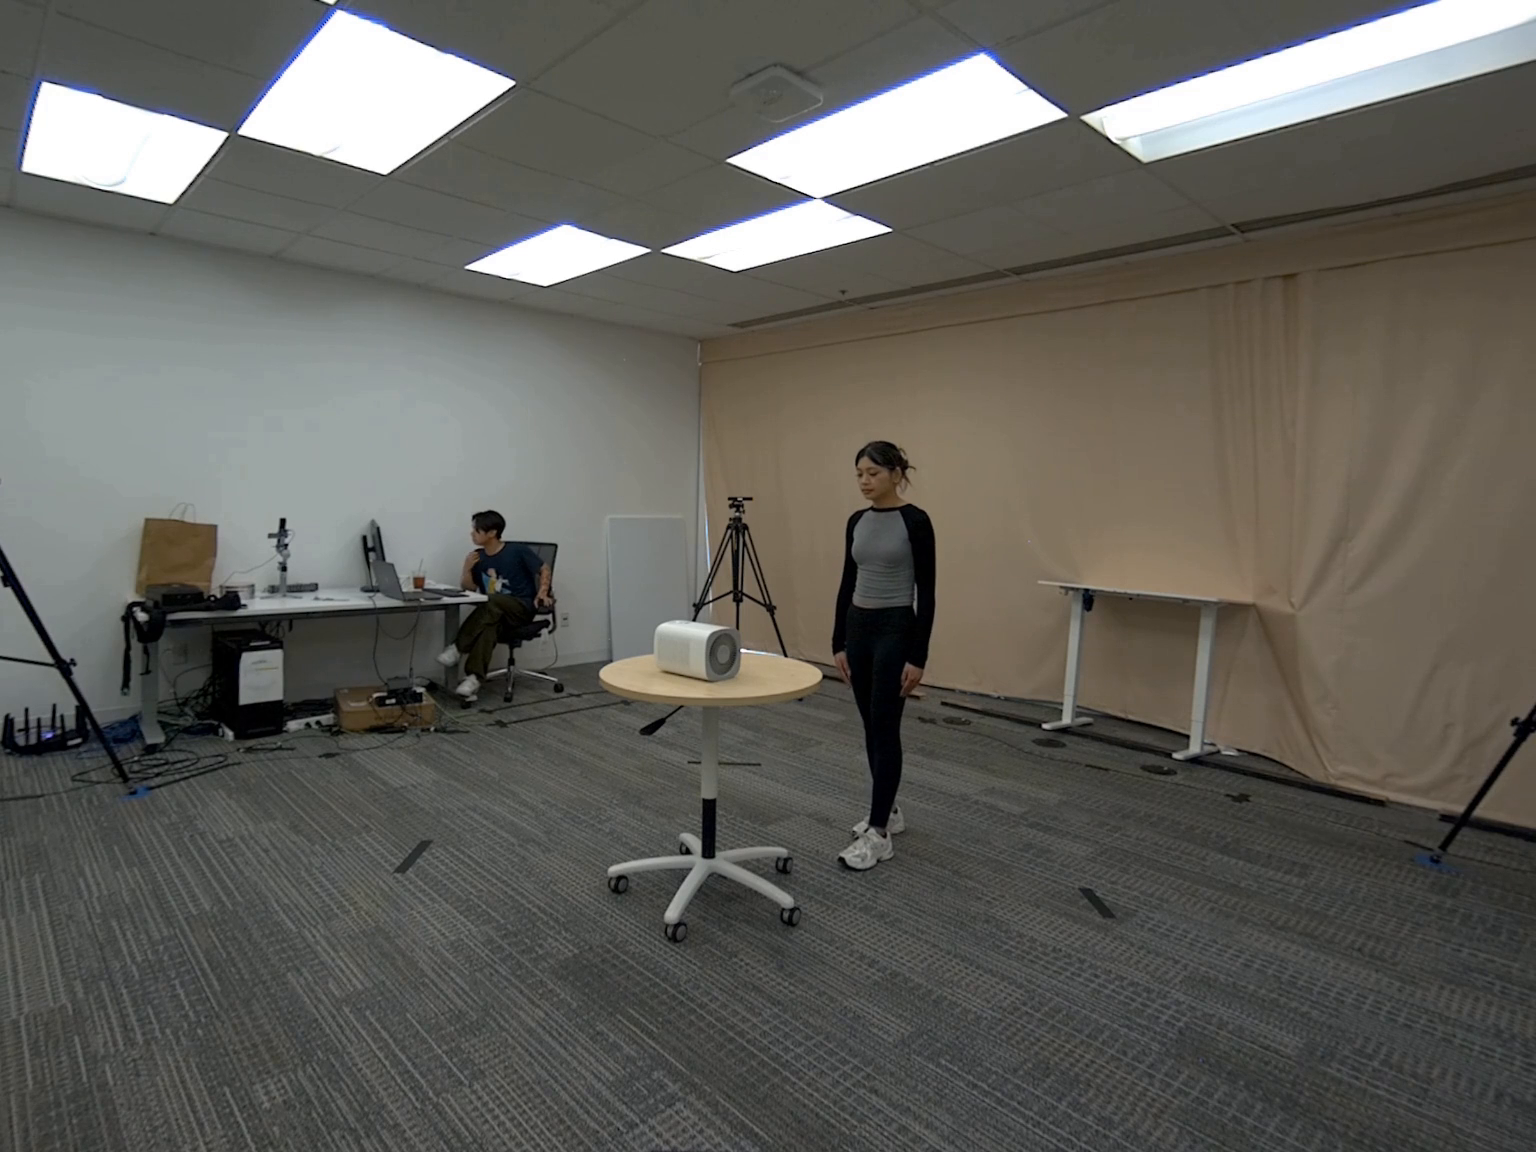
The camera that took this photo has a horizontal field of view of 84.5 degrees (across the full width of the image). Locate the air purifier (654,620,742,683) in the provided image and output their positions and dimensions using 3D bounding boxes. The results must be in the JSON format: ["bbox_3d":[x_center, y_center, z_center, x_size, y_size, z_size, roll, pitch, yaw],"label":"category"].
[{"bbox_3d":[-0.251,0.248,2.852,0.272,0.171,0.167,5,7,41],"label":"air purifier"}]
